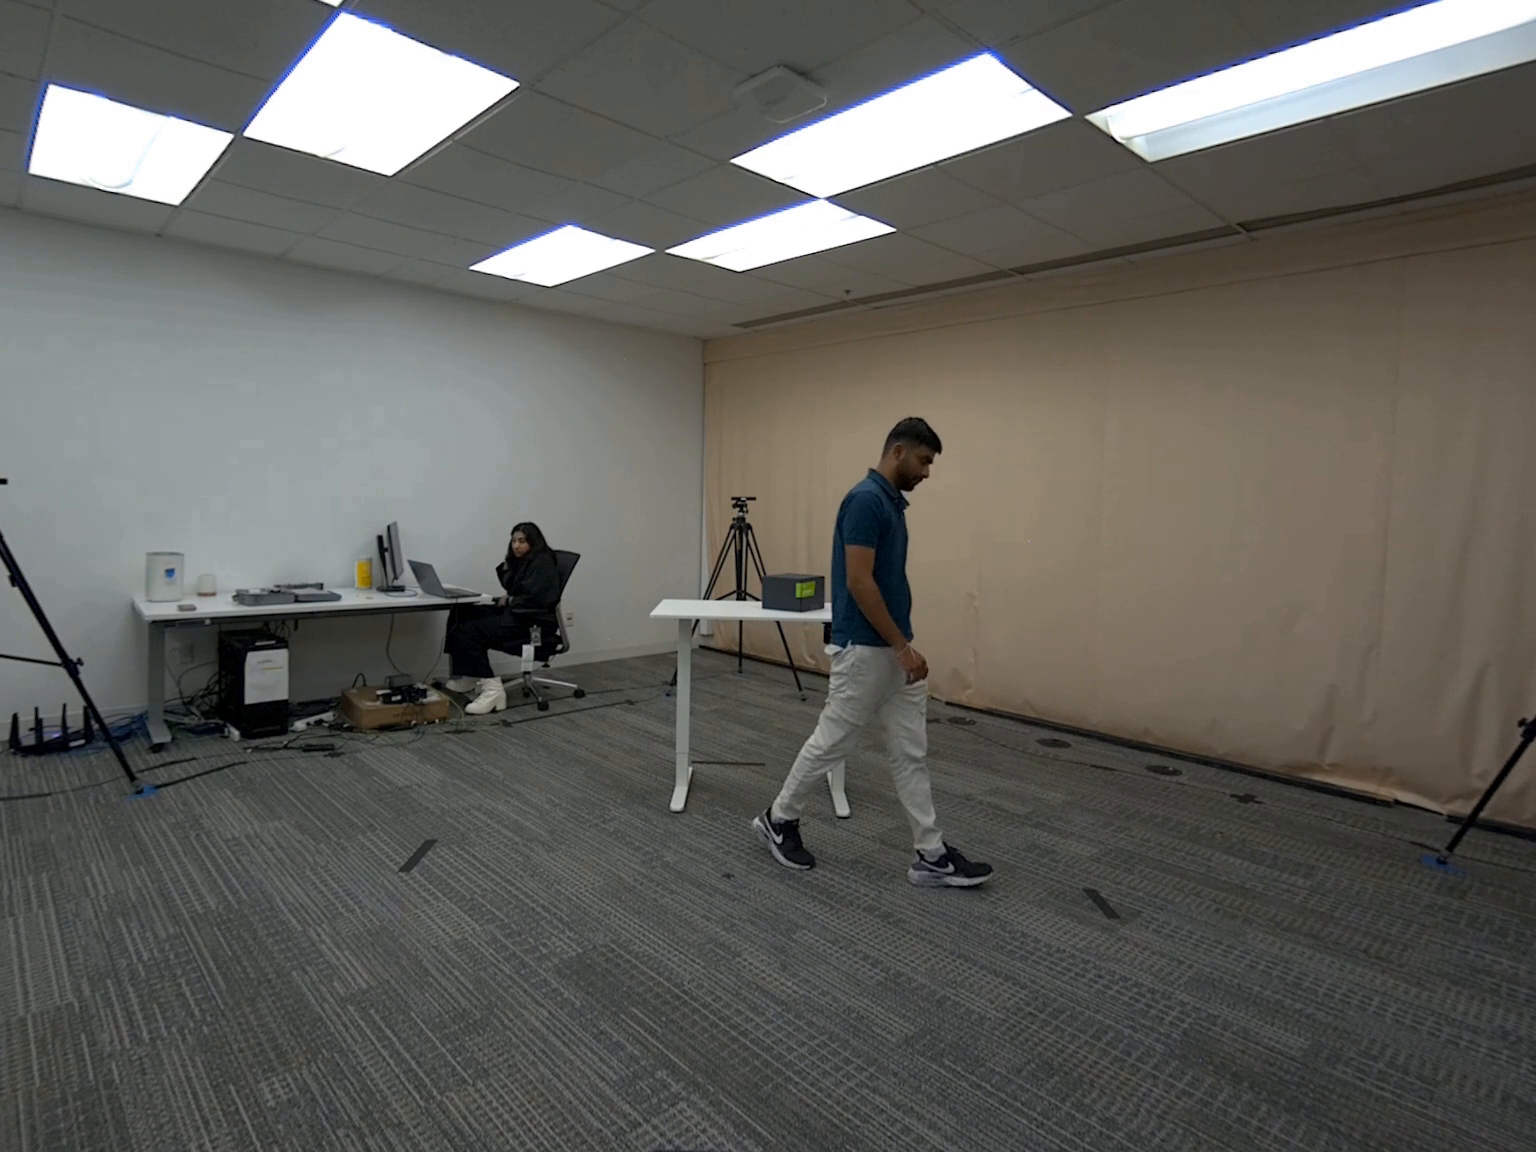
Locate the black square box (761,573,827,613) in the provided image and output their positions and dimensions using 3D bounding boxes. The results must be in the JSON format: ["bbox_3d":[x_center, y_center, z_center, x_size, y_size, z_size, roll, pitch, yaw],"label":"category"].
[{"bbox_3d":[0.121,0.074,3.988,0.222,0.155,0.223,4,4,33],"label":"black square box"}]
